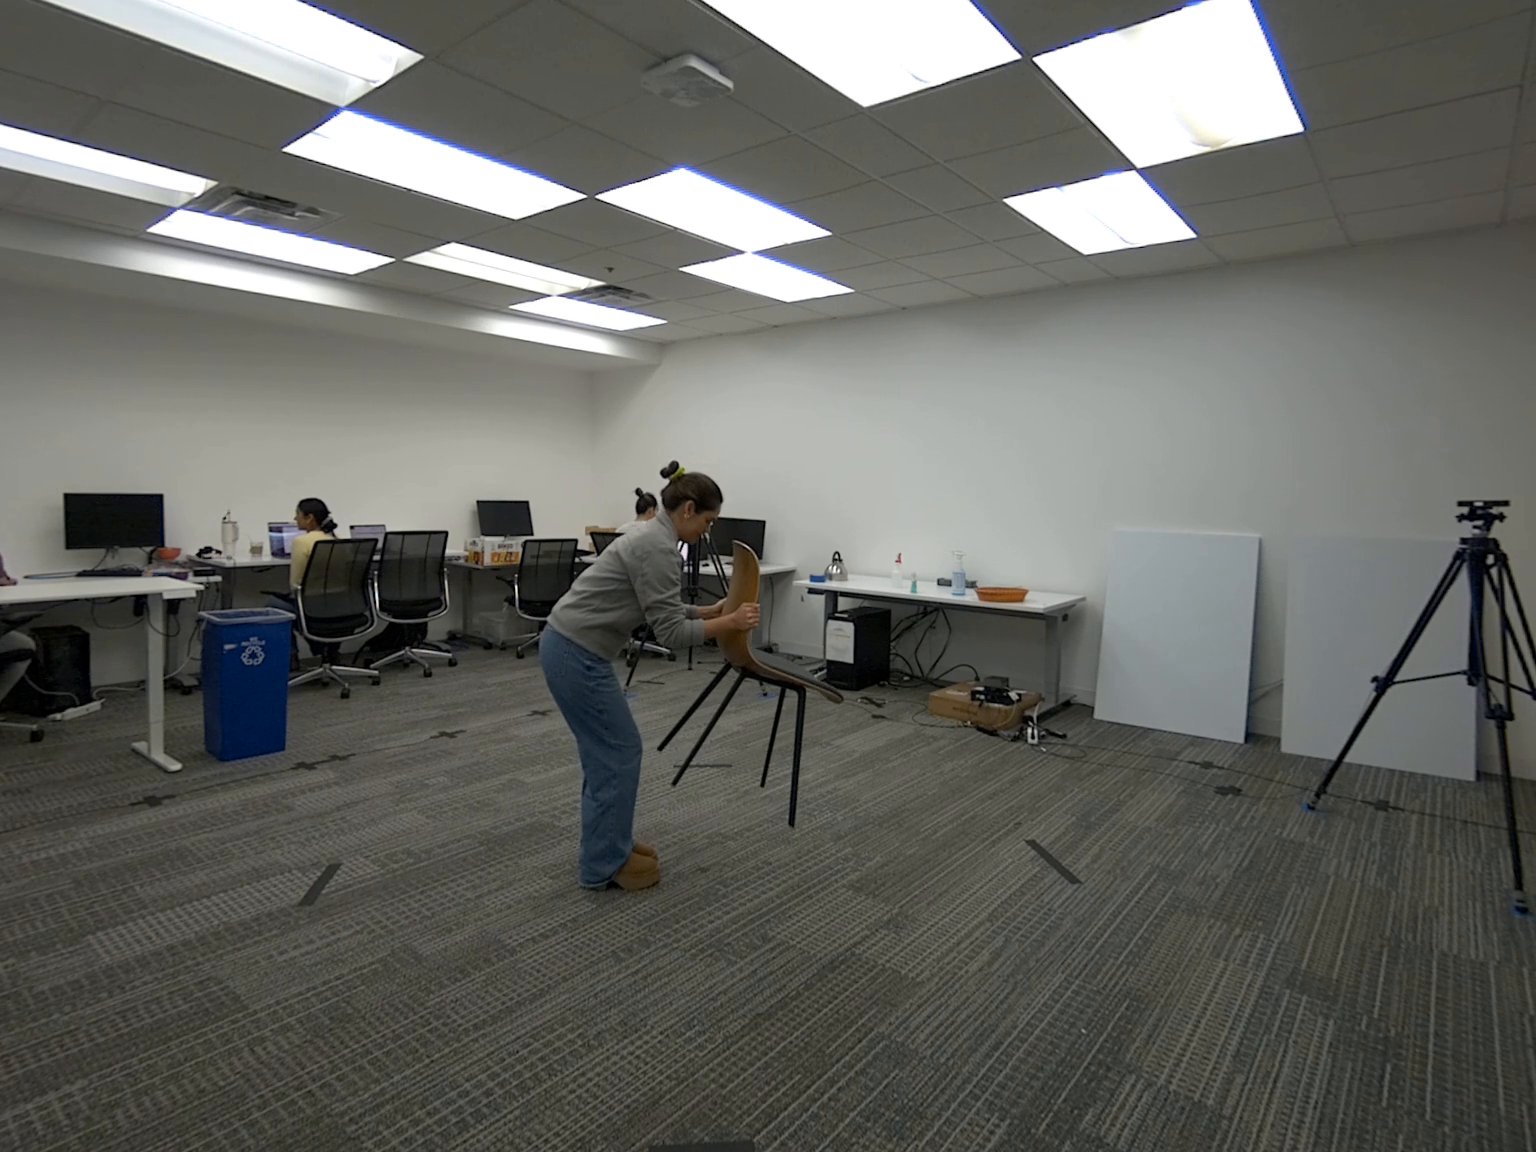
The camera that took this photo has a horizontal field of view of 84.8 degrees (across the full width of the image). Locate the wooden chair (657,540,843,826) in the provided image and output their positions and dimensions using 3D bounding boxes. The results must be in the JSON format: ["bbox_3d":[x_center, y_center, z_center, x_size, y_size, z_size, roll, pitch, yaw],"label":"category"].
[{"bbox_3d":[-0.016,0.369,3.095,0.516,0.878,0.485,17,-2,-12],"label":"wooden chair"}]
